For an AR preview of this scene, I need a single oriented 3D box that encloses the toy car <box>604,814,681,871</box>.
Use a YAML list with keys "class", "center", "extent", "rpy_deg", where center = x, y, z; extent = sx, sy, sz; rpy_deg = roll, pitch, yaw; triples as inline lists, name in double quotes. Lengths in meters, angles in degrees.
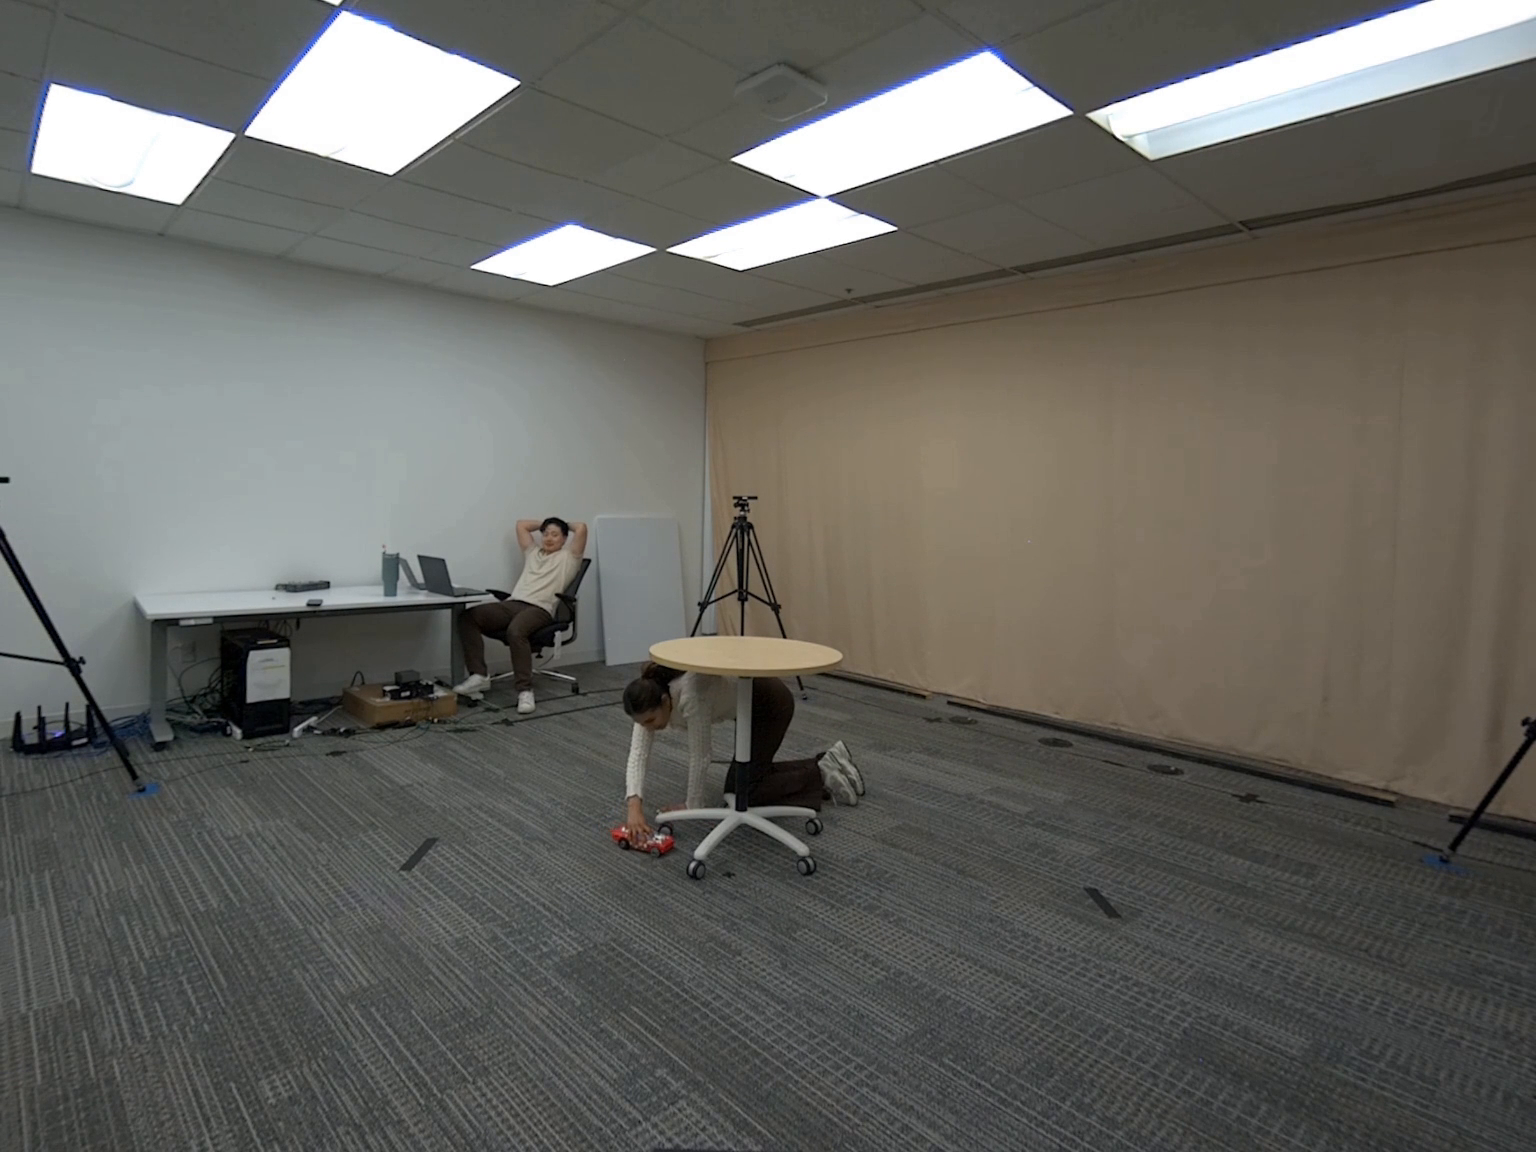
- class: "toy car"
  center: [-0.495, 1.042, 3.328]
  extent: [0.260, 0.083, 0.128]
  rpy_deg: [15, 10, 24]
